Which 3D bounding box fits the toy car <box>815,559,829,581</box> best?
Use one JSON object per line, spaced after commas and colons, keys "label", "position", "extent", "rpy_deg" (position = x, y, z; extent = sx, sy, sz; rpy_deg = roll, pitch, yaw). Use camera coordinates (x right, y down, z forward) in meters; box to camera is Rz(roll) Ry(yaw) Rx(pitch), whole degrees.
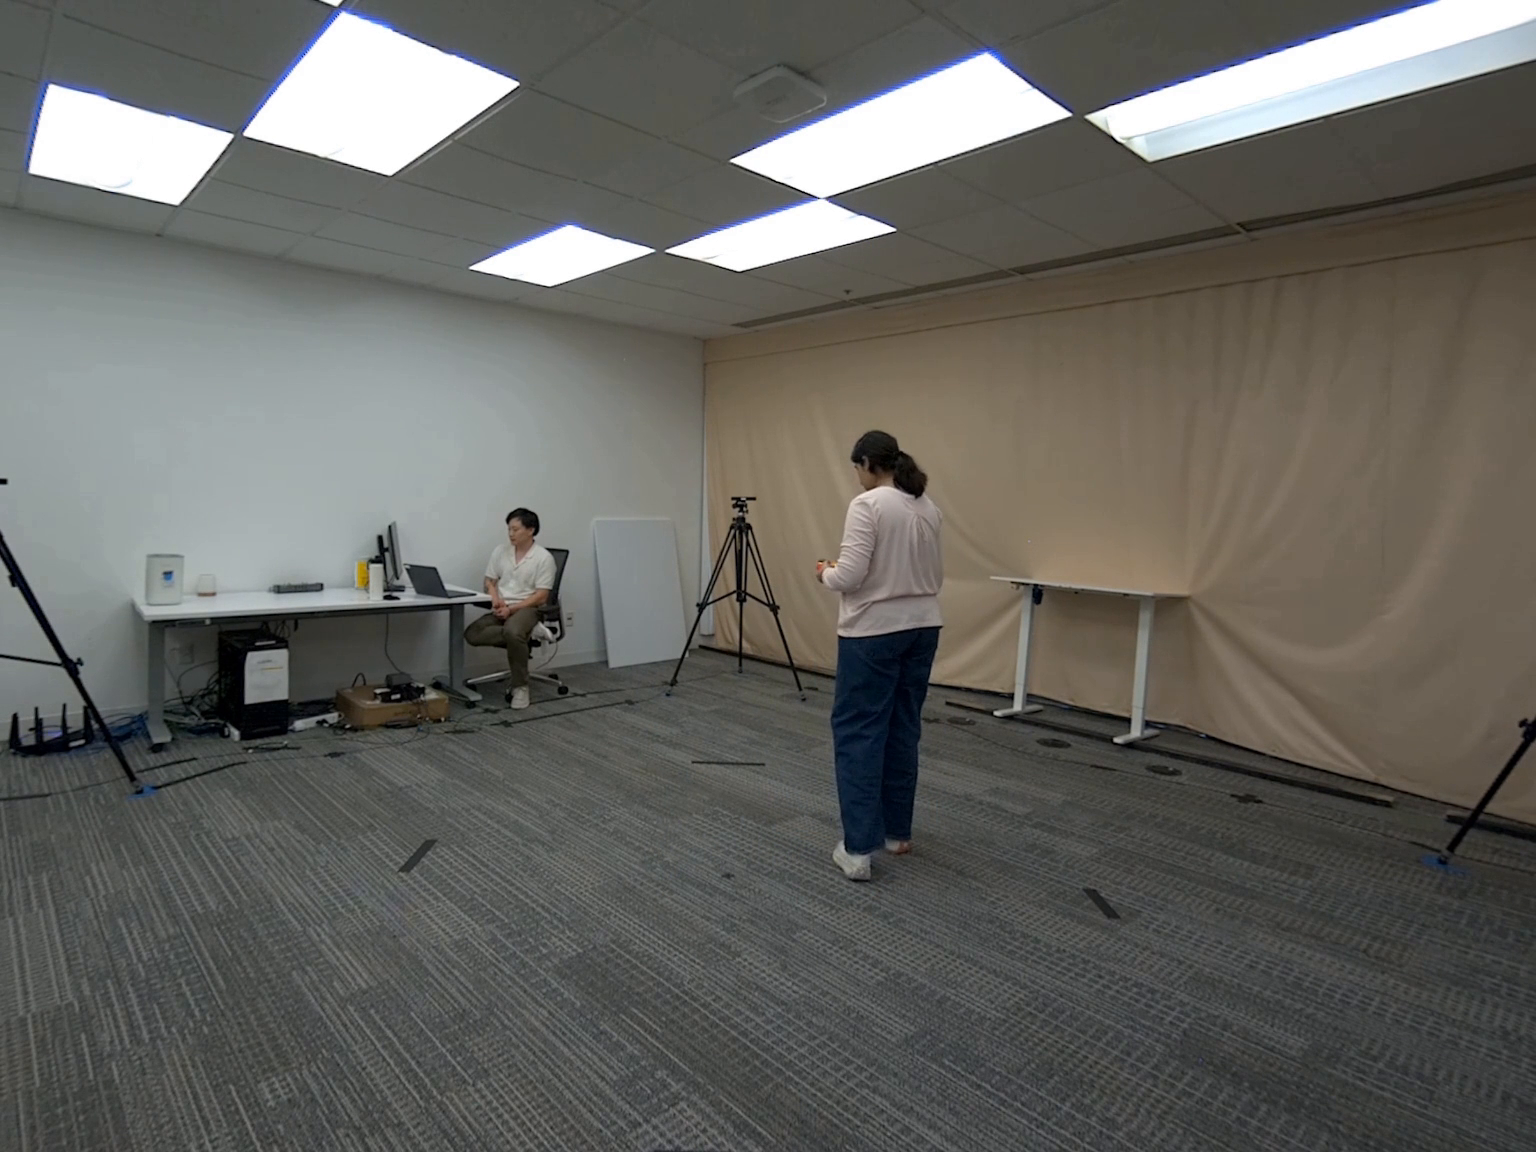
{"label": "toy car", "position": [0.287, -0.028, 3.524], "extent": [0.133, 0.083, 0.250], "rpy_deg": [8, 7, 27]}
